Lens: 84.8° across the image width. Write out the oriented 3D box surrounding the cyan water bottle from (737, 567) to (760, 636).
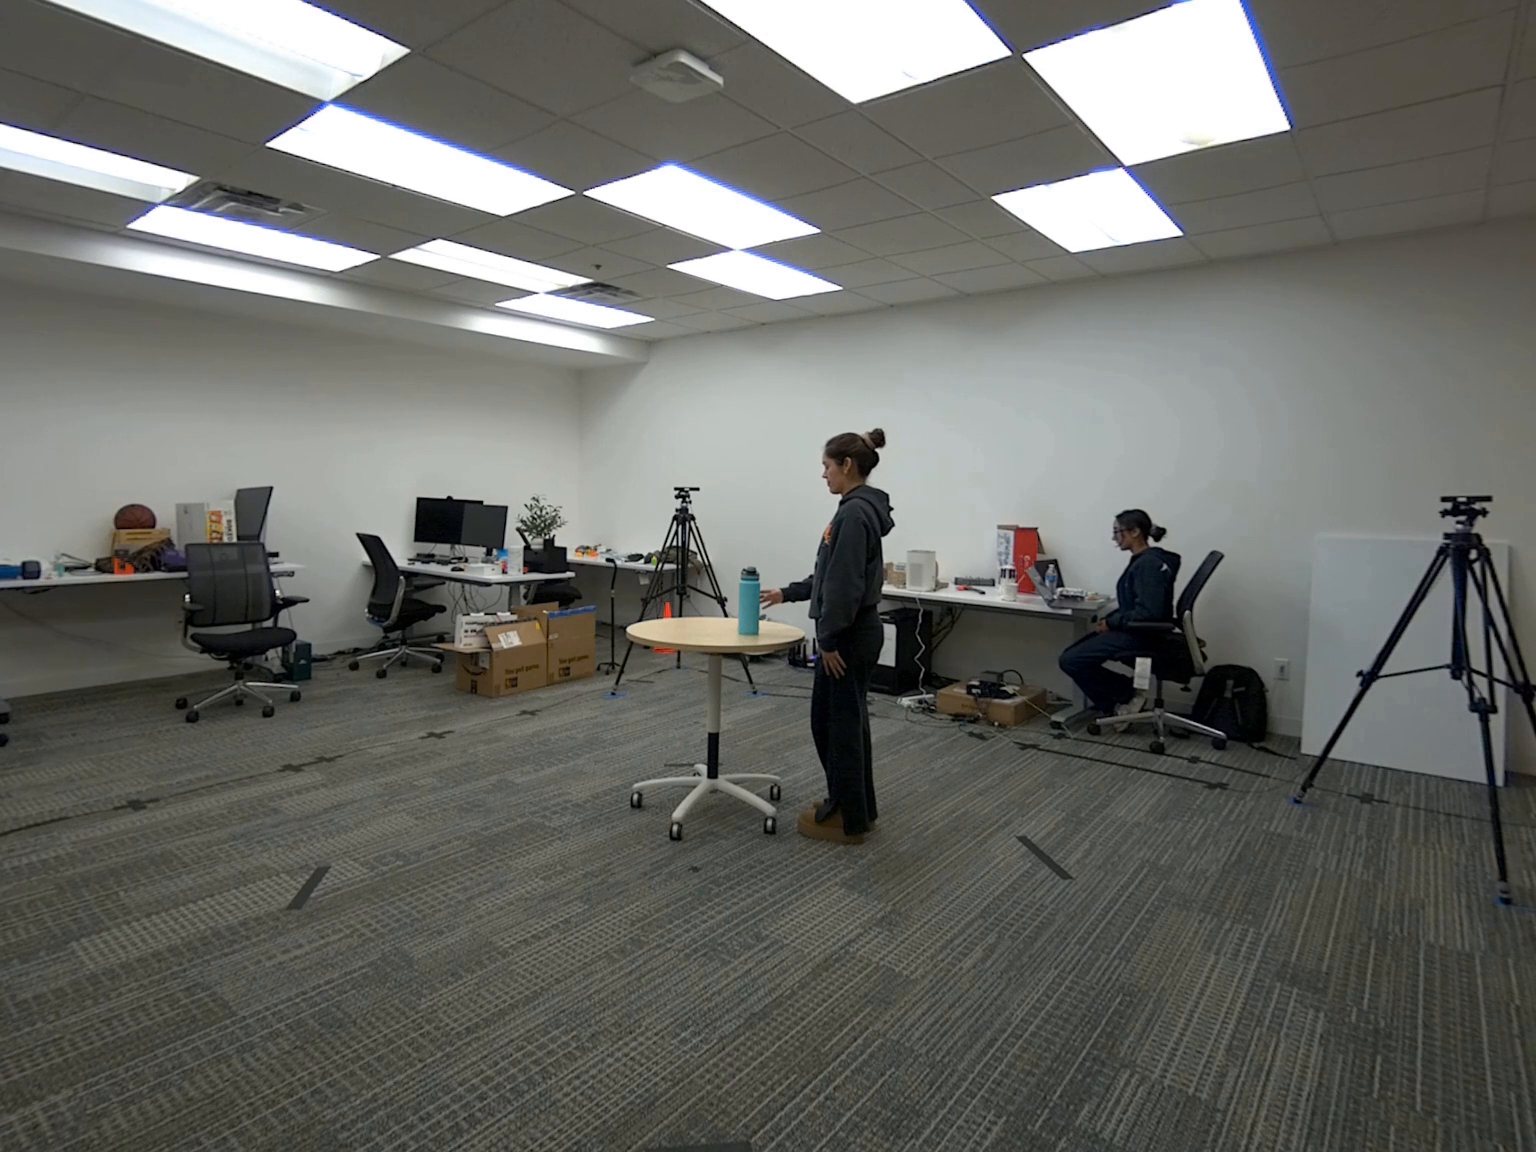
[{"bbox_3d":[-0.080,0.097,3.597,0.092,0.283,0.092,0,2,-2],"label":"cyan water bottle"}]
